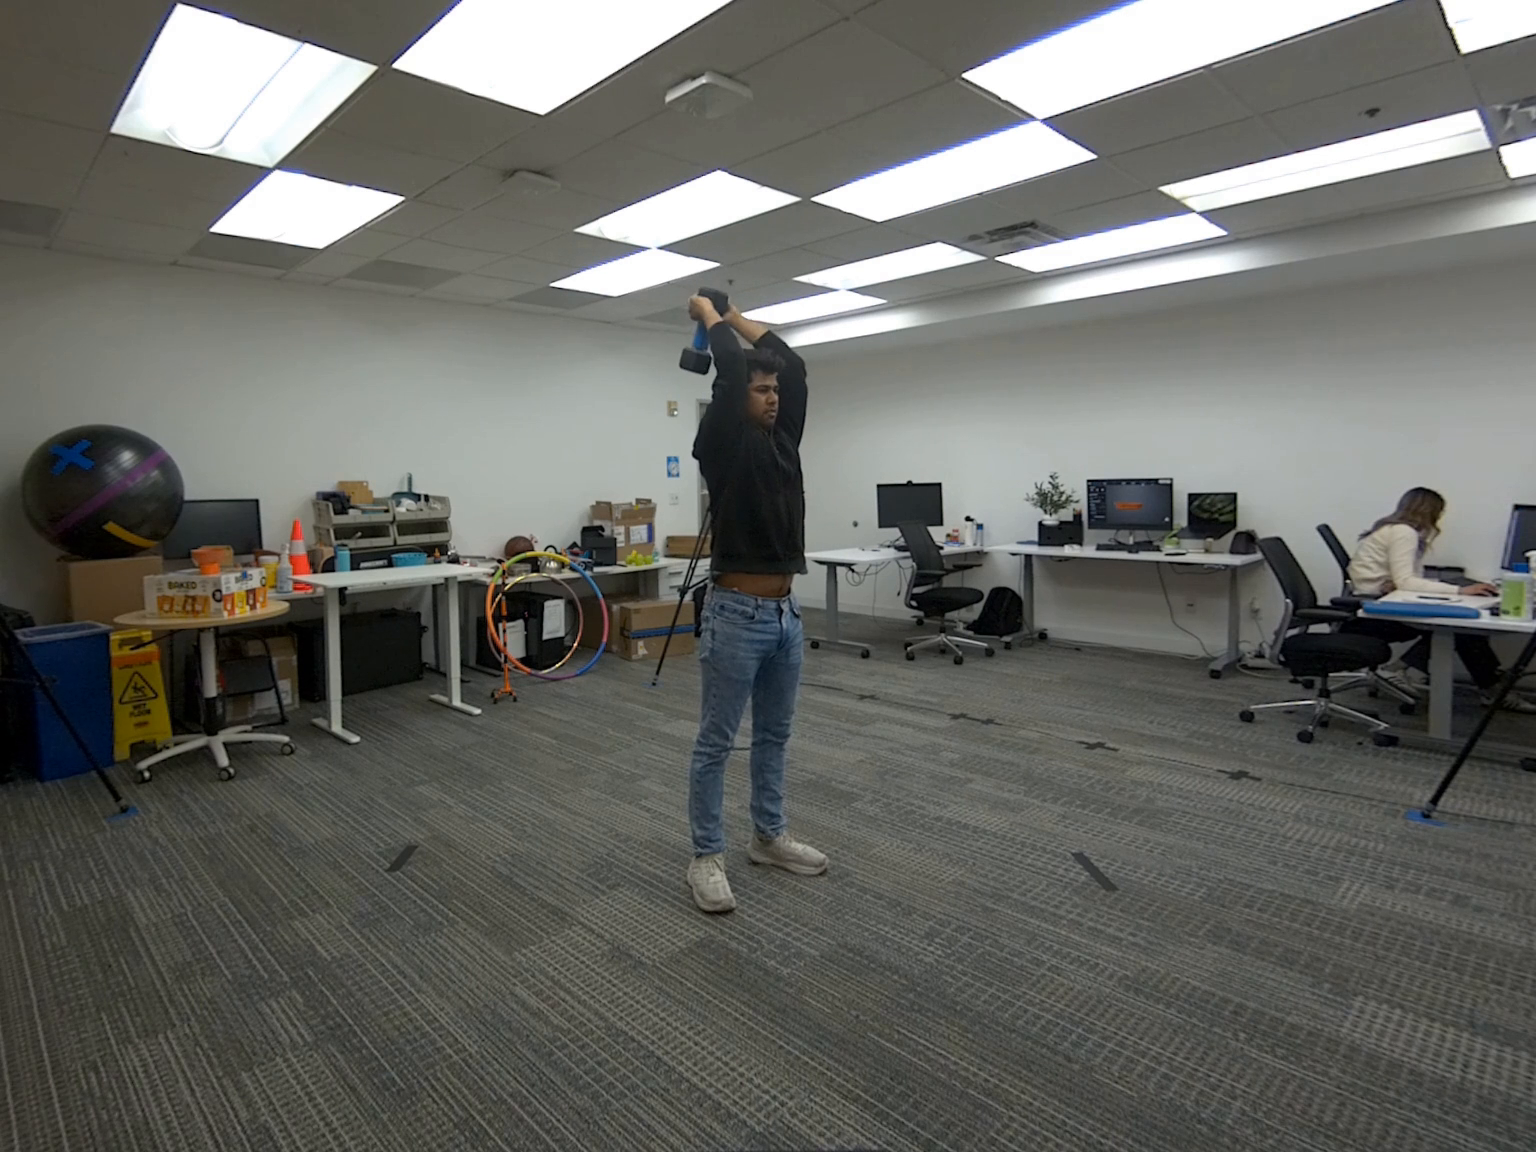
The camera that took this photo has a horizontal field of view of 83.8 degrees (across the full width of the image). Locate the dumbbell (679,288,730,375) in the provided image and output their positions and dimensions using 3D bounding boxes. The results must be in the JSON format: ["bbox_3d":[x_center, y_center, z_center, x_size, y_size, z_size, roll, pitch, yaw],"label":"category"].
[{"bbox_3d":[-0.217,-0.854,3.000,0.119,0.291,0.113,11,14,-32],"label":"dumbbell"}]
